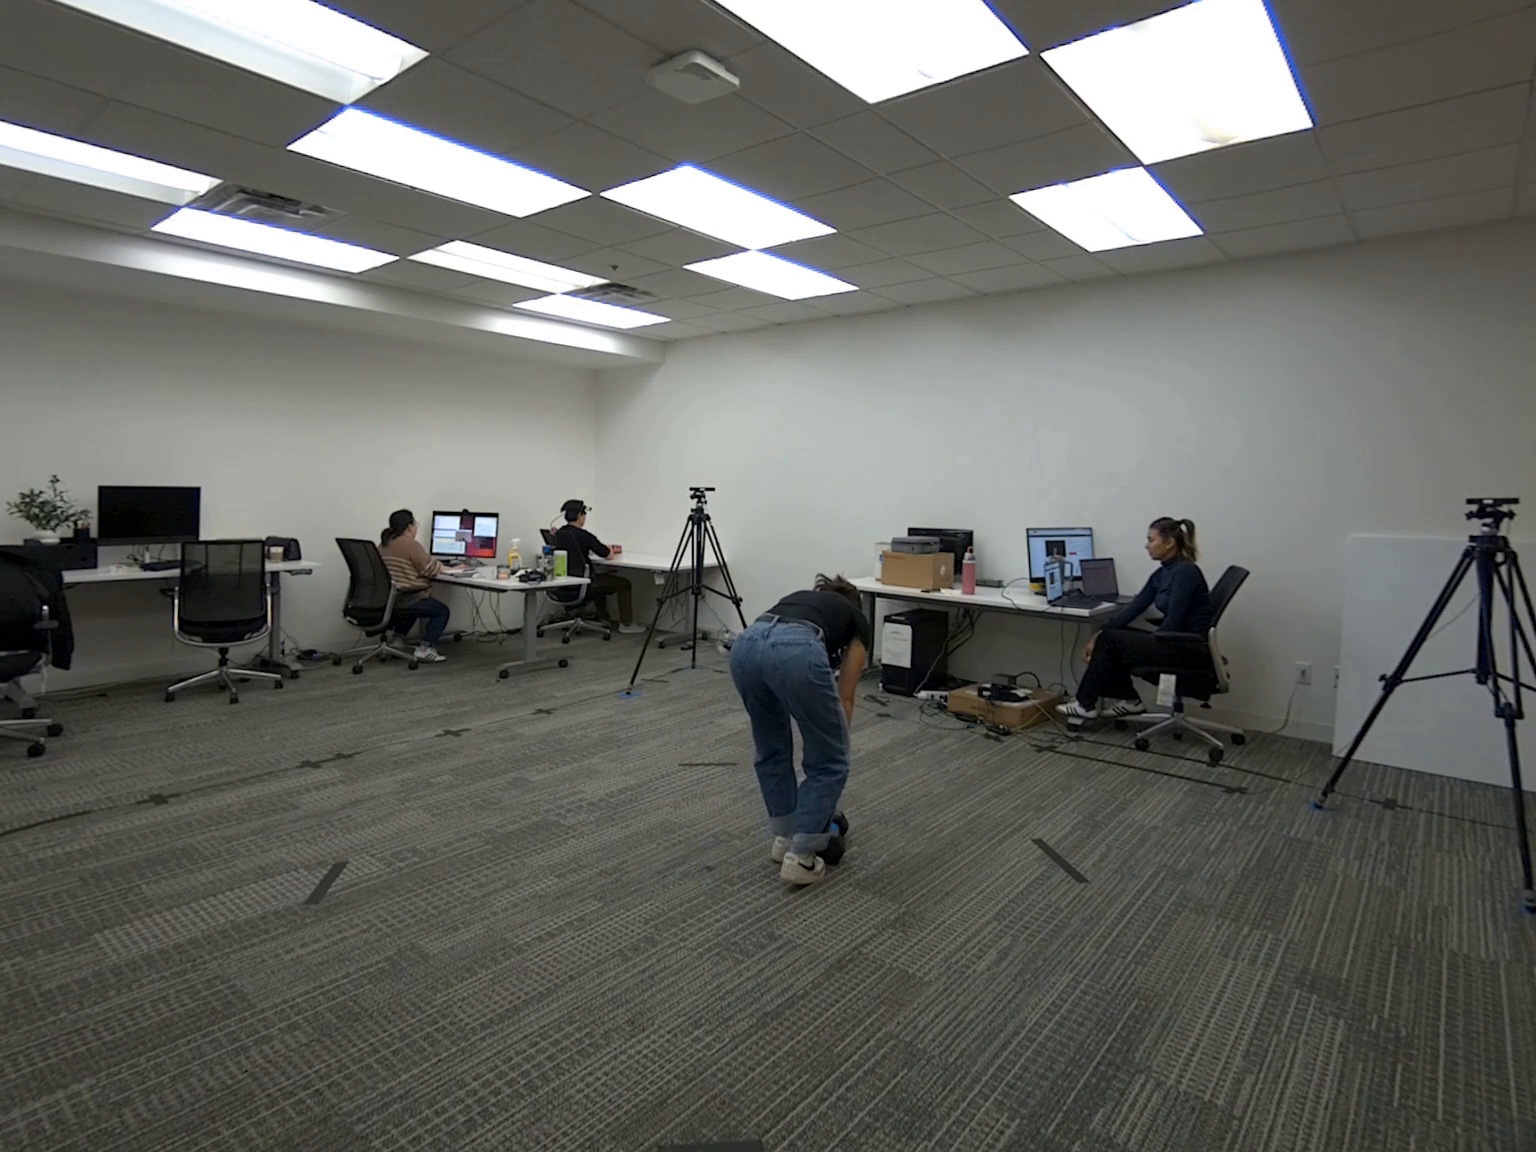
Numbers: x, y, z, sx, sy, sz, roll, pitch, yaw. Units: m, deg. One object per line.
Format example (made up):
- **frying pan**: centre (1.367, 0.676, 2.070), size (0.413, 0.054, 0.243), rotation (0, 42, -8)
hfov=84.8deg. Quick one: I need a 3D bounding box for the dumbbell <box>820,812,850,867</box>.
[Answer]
- **dumbbell**: centre (0.238, 1.003, 3.296), size (0.110, 0.122, 0.292), rotation (31, 9, 4)
